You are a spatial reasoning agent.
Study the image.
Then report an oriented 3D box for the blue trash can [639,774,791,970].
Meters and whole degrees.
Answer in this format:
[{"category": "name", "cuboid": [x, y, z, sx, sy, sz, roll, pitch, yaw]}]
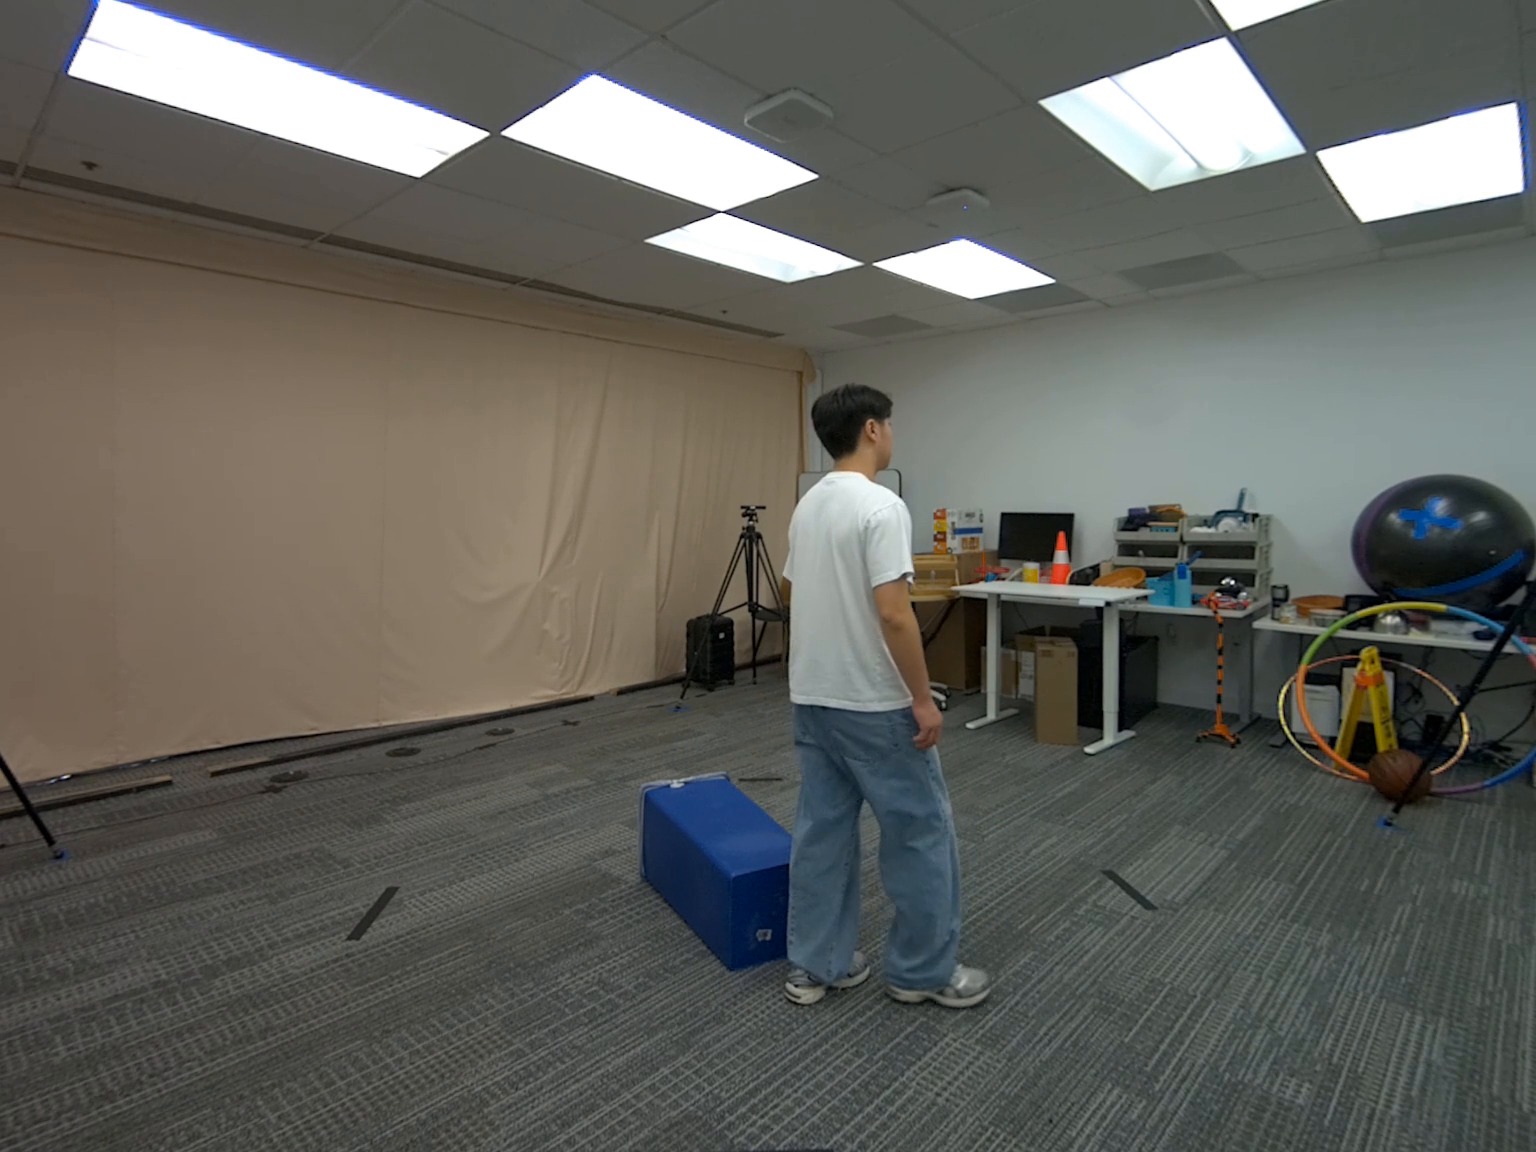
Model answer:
[{"category": "blue trash can", "cuboid": [-0.144, 0.989, 2.882, 0.364, 0.376, 0.735, -2, 7, -28]}]
